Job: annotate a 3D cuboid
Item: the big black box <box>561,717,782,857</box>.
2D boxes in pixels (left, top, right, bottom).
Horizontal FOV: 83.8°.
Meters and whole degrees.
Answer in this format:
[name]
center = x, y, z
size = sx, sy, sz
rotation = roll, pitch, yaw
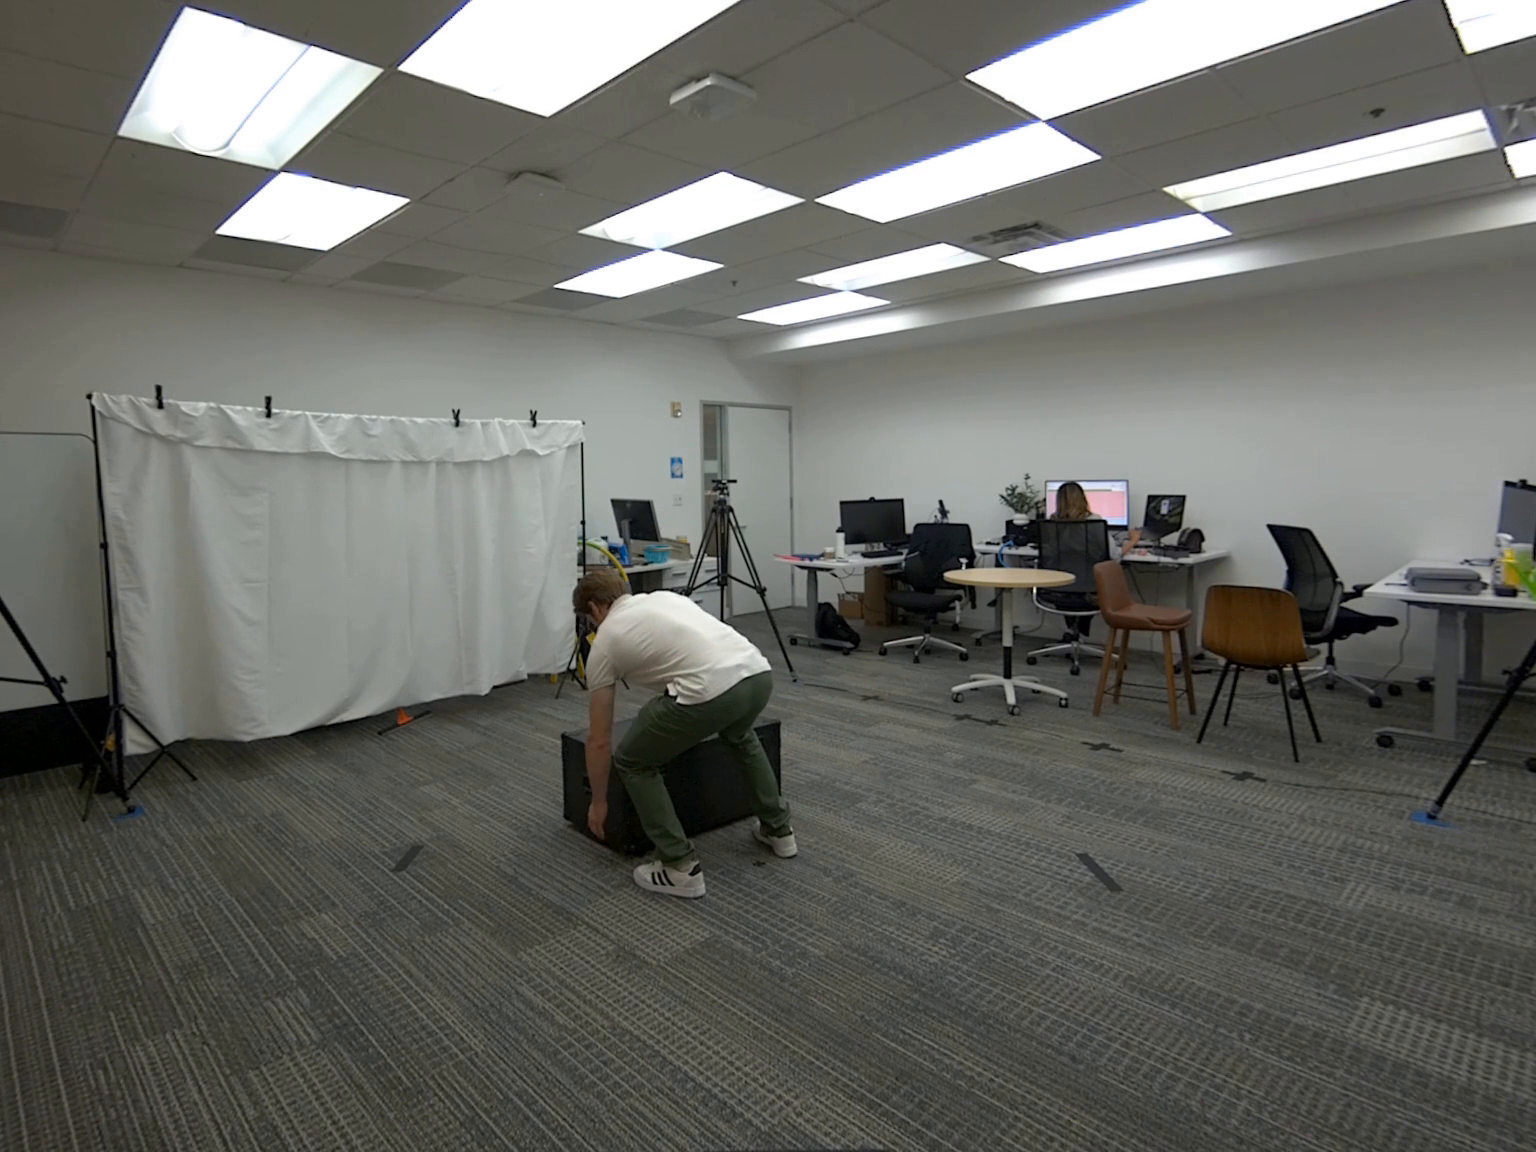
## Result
[big black box]
center = -0.362, 0.805, 3.577
size = 0.846, 0.384, 0.539
rotation = -6, 7, -41
